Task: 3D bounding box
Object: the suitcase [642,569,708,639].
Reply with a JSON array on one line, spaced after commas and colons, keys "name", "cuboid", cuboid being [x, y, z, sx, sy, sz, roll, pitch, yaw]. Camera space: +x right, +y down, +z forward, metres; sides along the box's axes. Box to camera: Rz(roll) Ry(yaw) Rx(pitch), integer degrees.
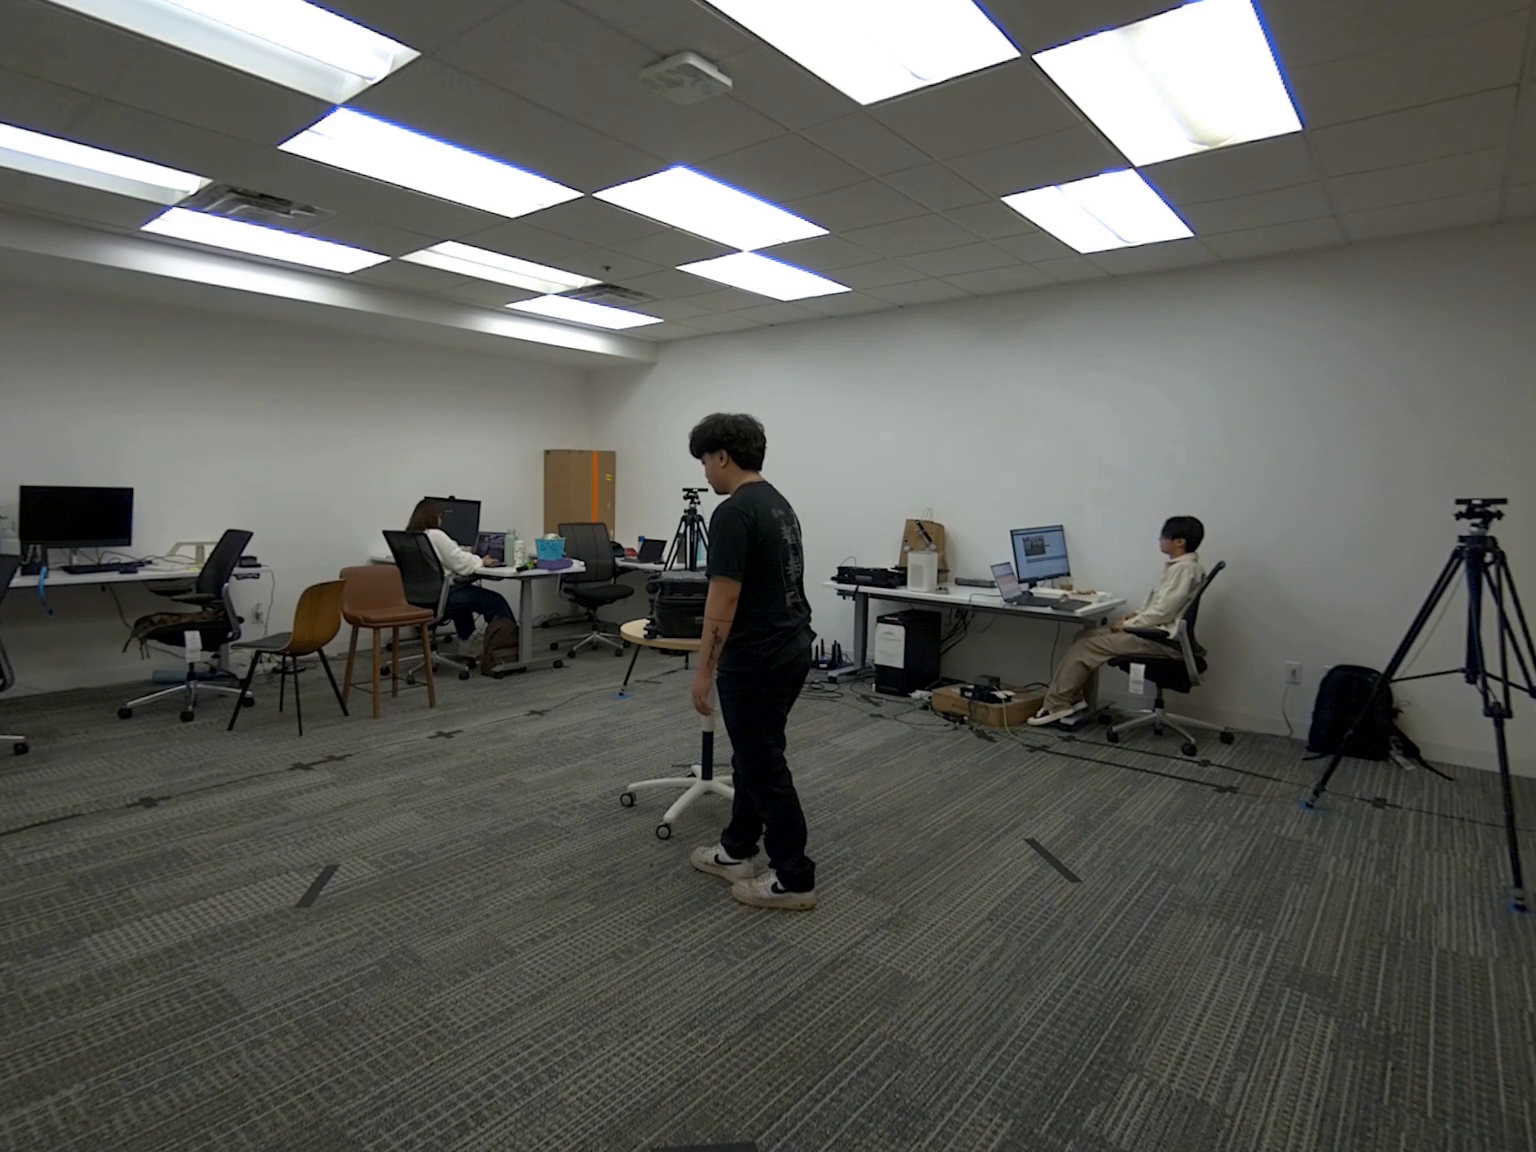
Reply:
[{"name": "suitcase", "cuboid": [-0.241, 0.113, 3.539, 0.548, 0.248, 0.377, 2, 2, -3]}]
